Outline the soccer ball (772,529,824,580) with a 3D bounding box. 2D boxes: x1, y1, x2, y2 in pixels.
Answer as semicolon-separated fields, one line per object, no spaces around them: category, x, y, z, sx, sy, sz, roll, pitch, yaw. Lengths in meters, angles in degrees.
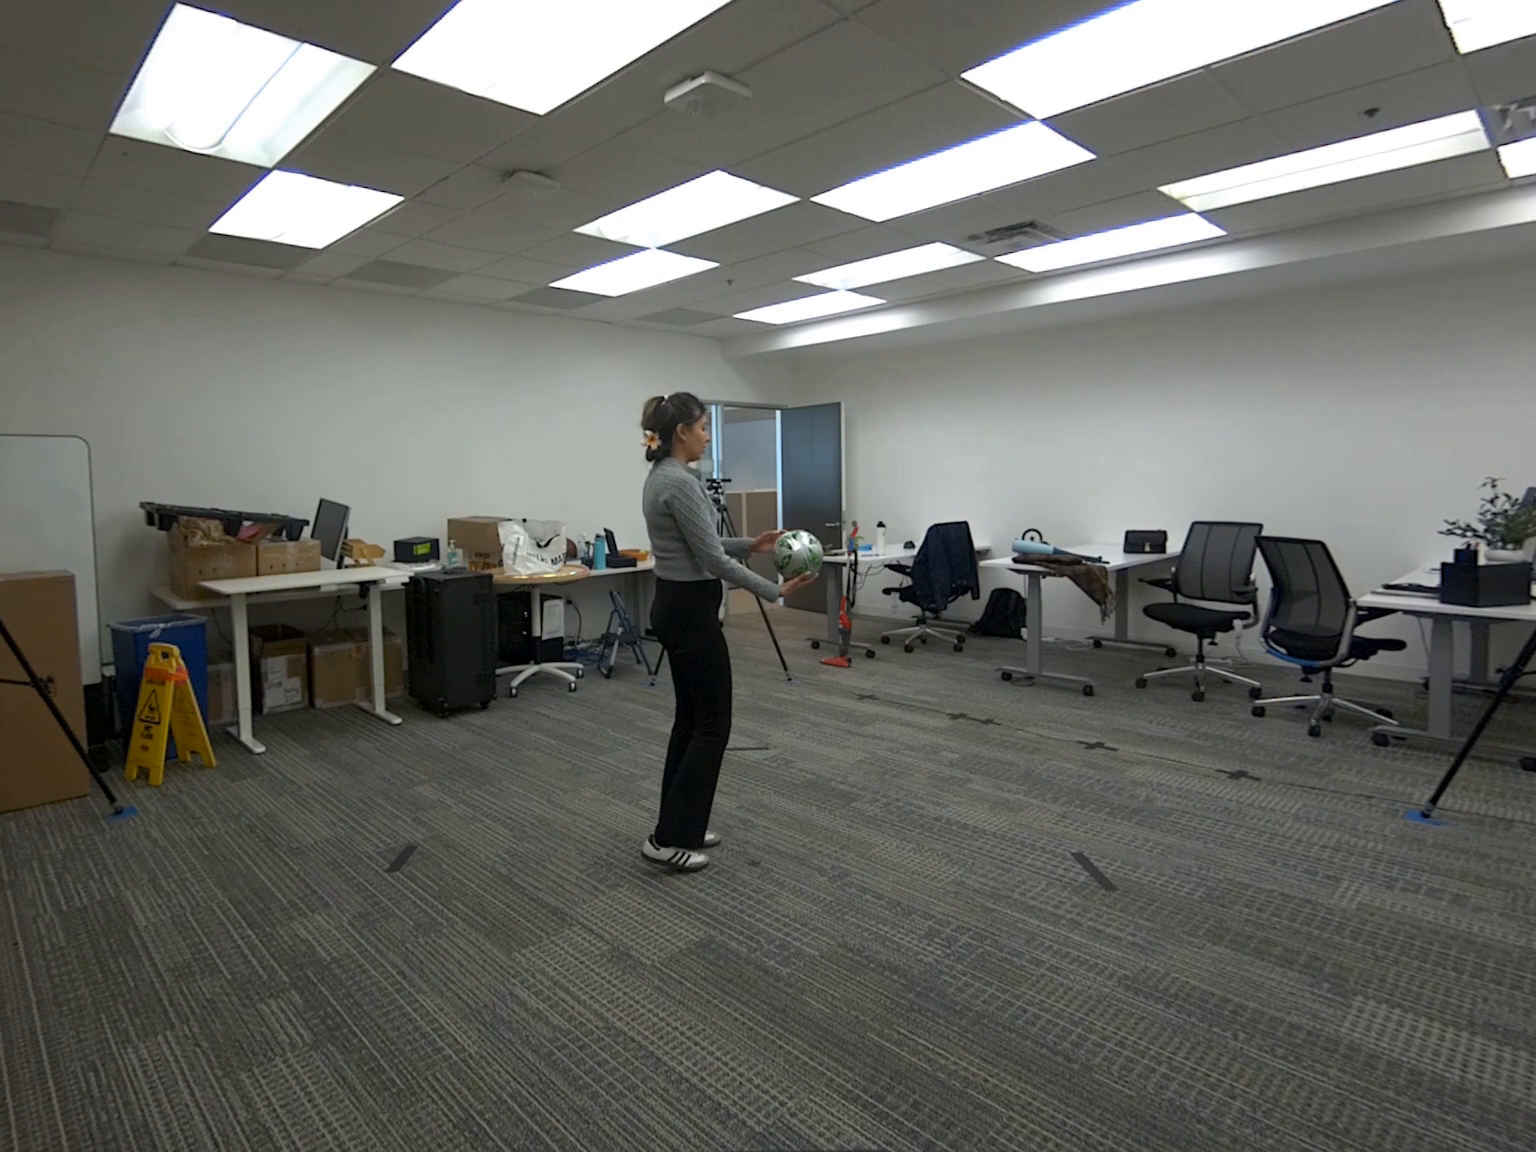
soccer ball;0.103;-0.067;3.119;0.187;0.187;0.188;-1;5;-2
